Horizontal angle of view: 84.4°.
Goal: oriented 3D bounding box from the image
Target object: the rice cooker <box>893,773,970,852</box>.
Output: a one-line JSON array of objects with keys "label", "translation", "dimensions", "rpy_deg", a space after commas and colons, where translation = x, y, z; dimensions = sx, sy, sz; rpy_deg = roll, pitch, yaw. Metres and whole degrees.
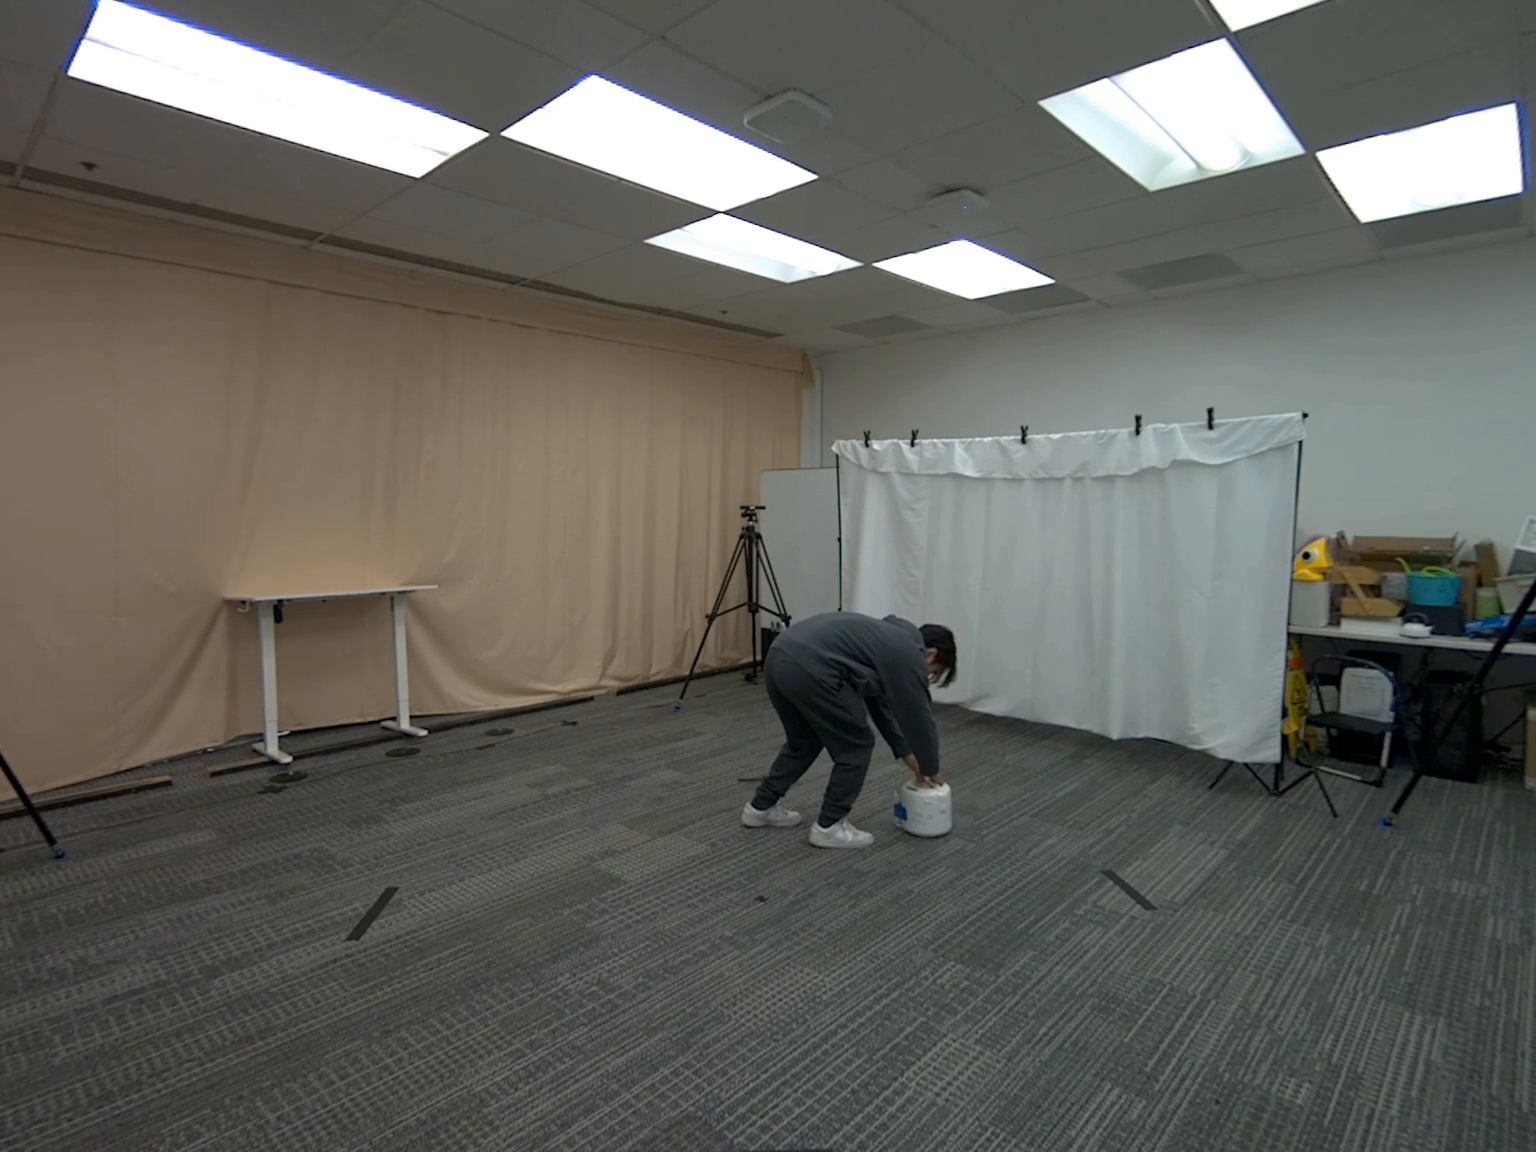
[{"label": "rice cooker", "translation": [0.692, 0.988, 3.601], "dimensions": [0.212, 0.232, 0.227], "rpy_deg": [-5, 7, -32]}]
